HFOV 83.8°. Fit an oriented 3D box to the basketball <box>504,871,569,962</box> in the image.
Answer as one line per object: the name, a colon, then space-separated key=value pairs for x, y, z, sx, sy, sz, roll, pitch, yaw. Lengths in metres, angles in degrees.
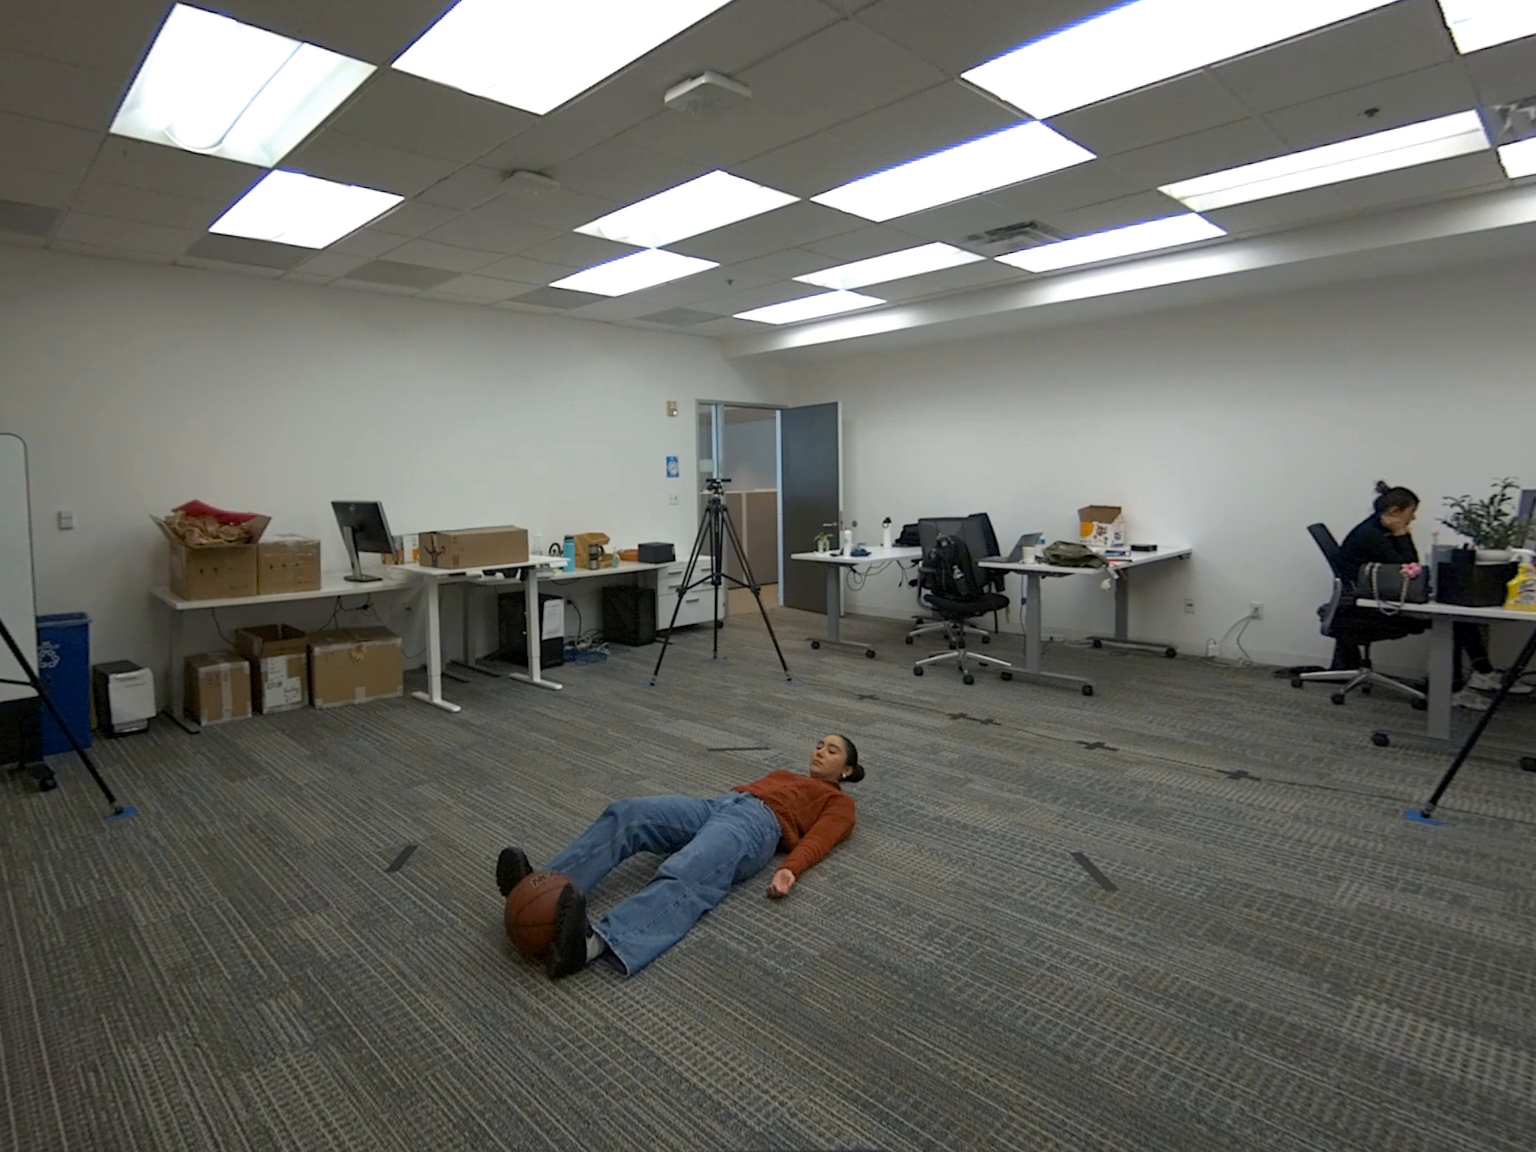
basketball: x=-0.663 y=1.001 z=2.551 sx=0.236 sy=0.235 sz=0.237 roll=-1 pitch=5 yaw=-2
